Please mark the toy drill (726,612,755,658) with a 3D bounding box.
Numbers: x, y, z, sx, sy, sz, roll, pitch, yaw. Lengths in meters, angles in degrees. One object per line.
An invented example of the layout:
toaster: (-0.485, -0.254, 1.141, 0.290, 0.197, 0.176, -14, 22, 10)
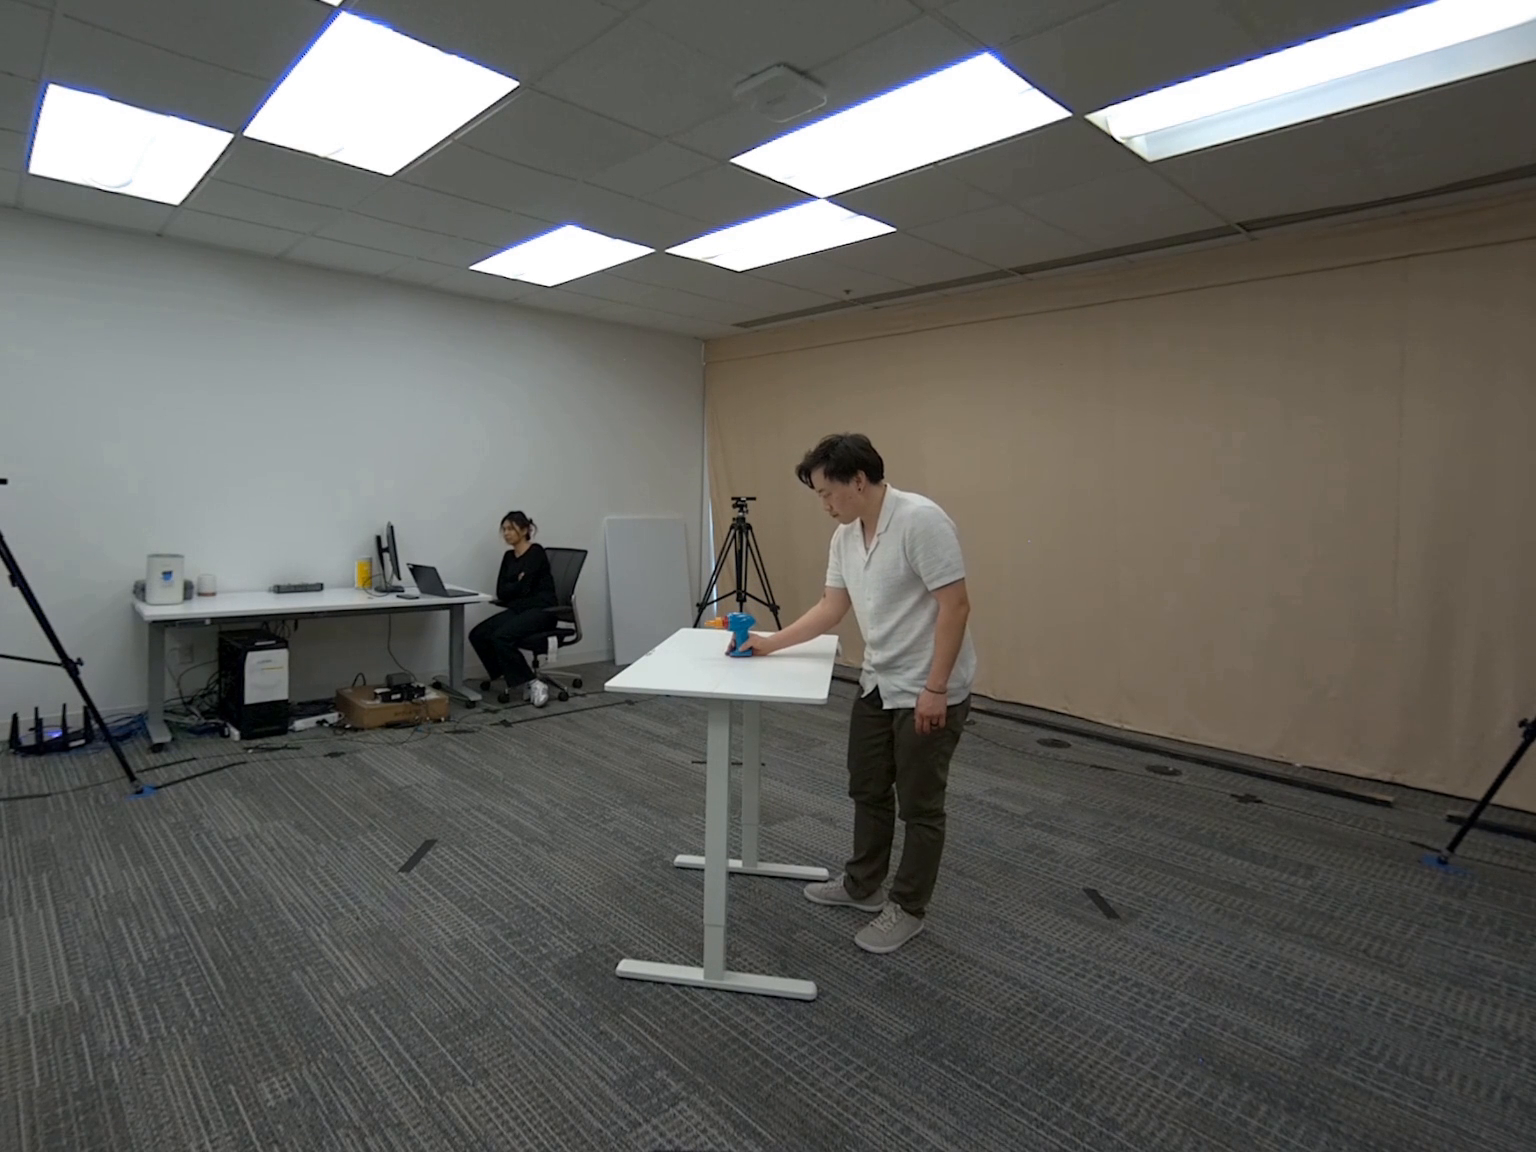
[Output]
toy drill: (-0.123, 0.187, 2.713, 0.167, 0.146, 0.062, -1, 2, -18)
